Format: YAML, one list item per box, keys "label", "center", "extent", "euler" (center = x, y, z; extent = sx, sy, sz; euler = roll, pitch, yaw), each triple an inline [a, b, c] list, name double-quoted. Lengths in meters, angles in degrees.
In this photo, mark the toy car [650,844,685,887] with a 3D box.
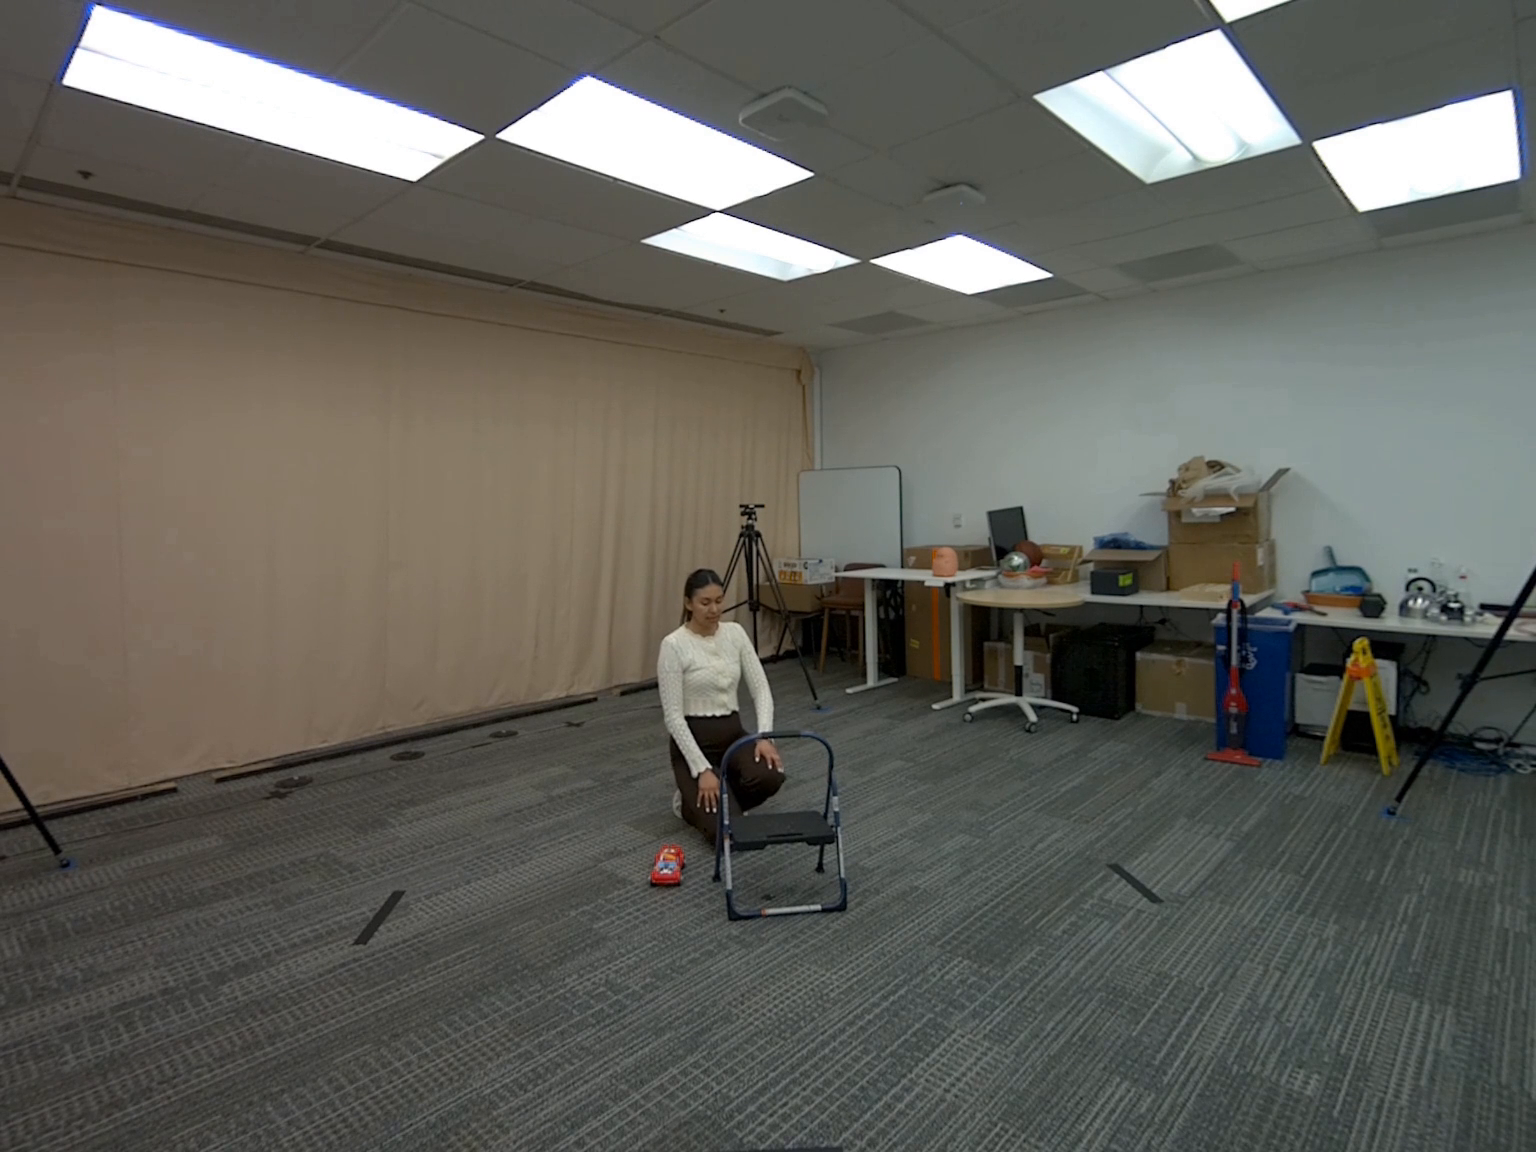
- label: "toy car"
  center: [-0.387, 1.097, 3.195]
  extent: [0.130, 0.082, 0.257]
  euler: [-2, 15, -2]
